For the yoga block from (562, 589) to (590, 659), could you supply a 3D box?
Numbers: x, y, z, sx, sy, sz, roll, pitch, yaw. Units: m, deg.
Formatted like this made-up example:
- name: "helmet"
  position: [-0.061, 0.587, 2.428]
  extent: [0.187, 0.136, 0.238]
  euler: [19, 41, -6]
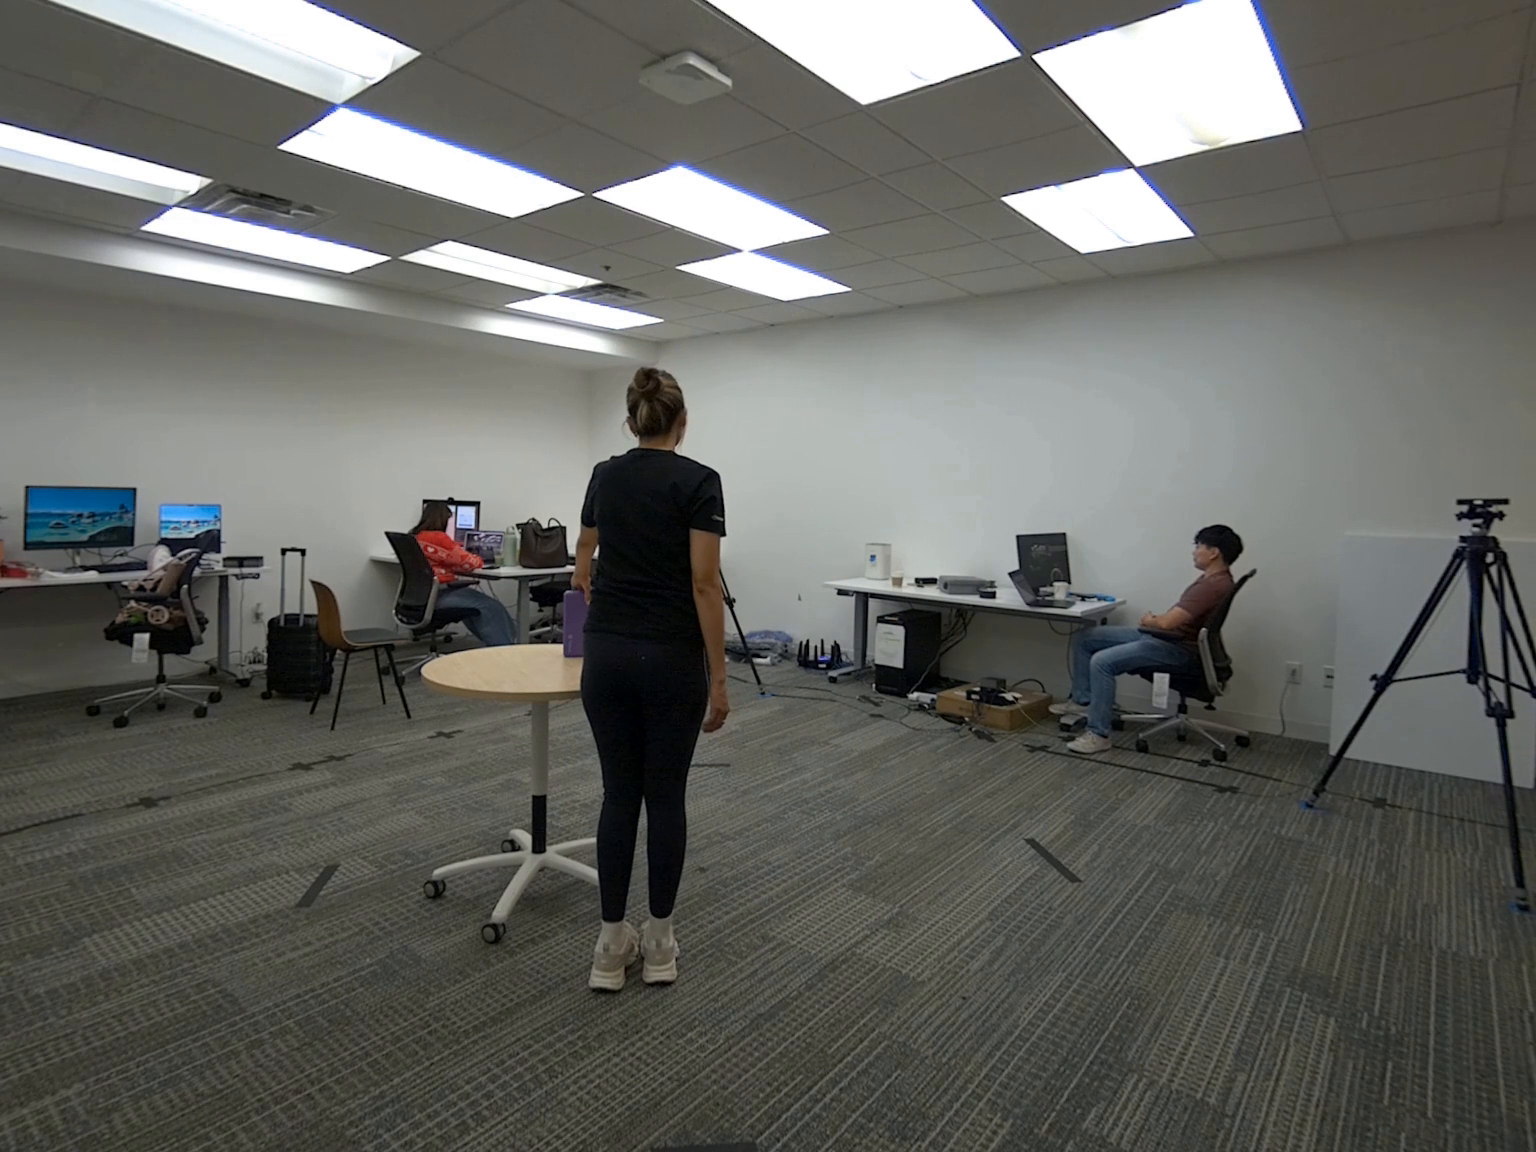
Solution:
- name: "yoga block"
  position: [-0.669, 0.170, 3.043]
  extent: [0.148, 0.228, 0.077]
  euler: [6, 4, -3]
